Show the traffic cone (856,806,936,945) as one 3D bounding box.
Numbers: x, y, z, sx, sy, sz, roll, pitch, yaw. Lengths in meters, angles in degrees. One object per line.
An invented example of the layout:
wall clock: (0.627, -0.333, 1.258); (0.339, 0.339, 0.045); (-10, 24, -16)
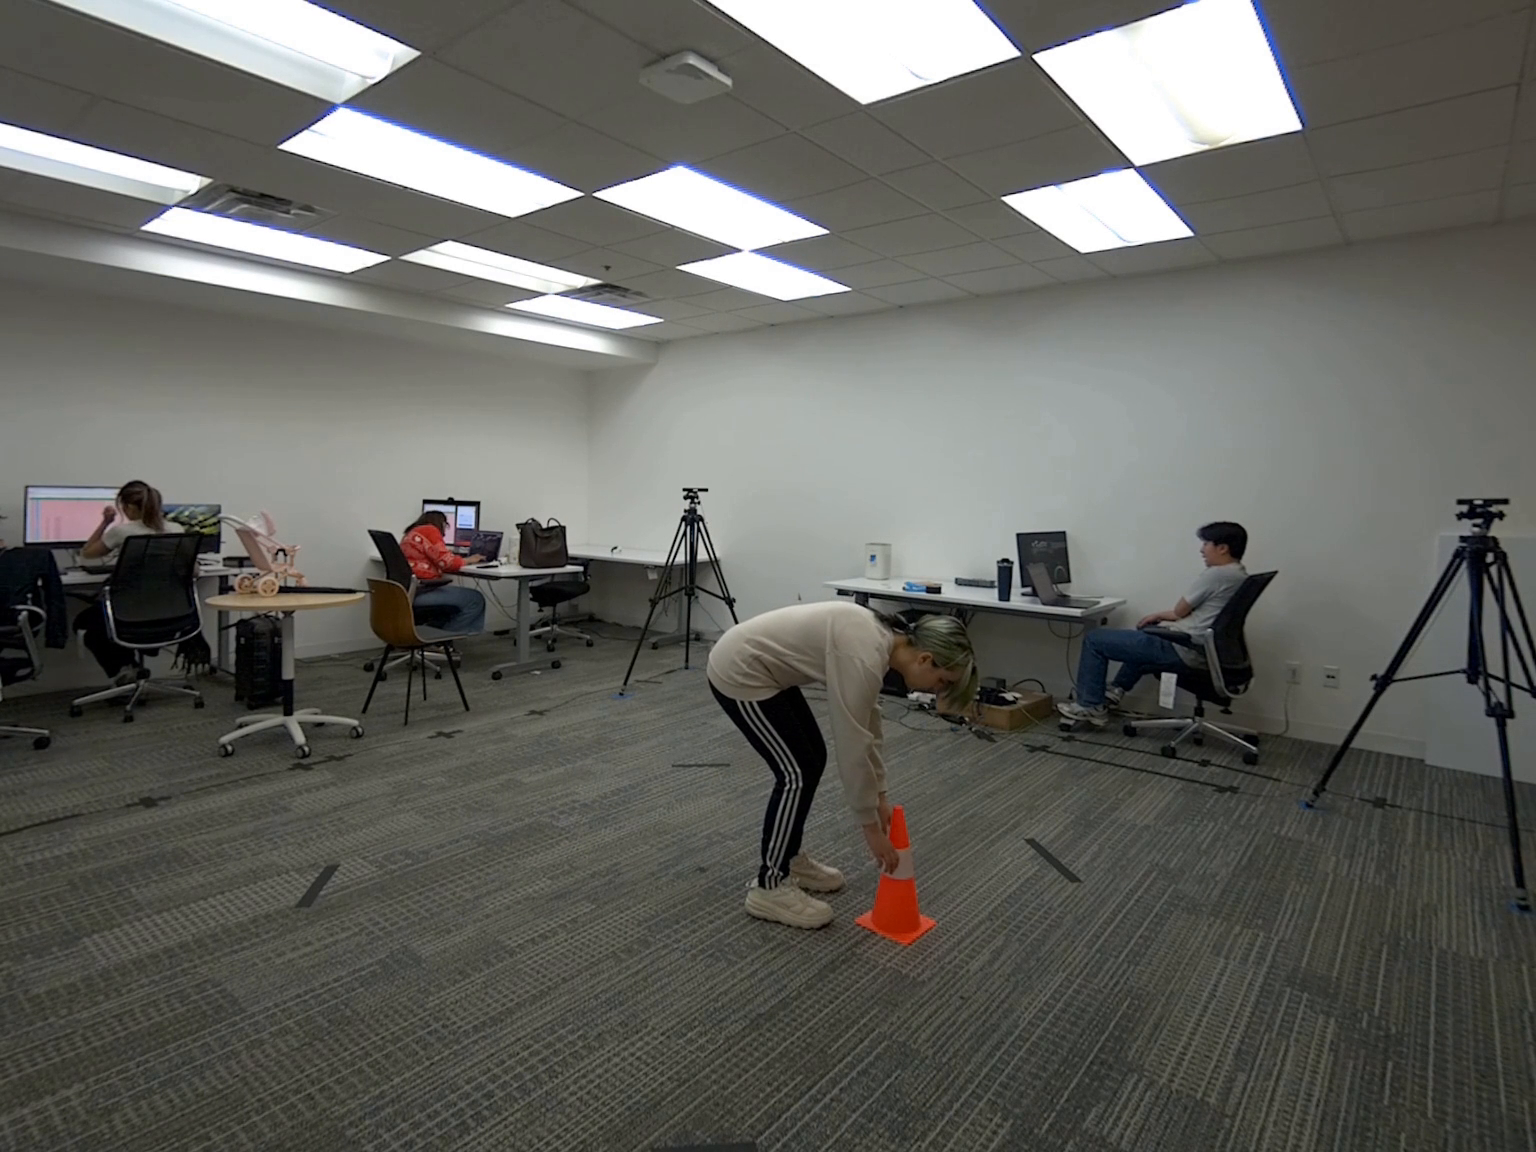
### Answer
traffic cone: (0.405, 0.935, 2.742); (0.210, 0.382, 0.199); (4, 6, 40)
